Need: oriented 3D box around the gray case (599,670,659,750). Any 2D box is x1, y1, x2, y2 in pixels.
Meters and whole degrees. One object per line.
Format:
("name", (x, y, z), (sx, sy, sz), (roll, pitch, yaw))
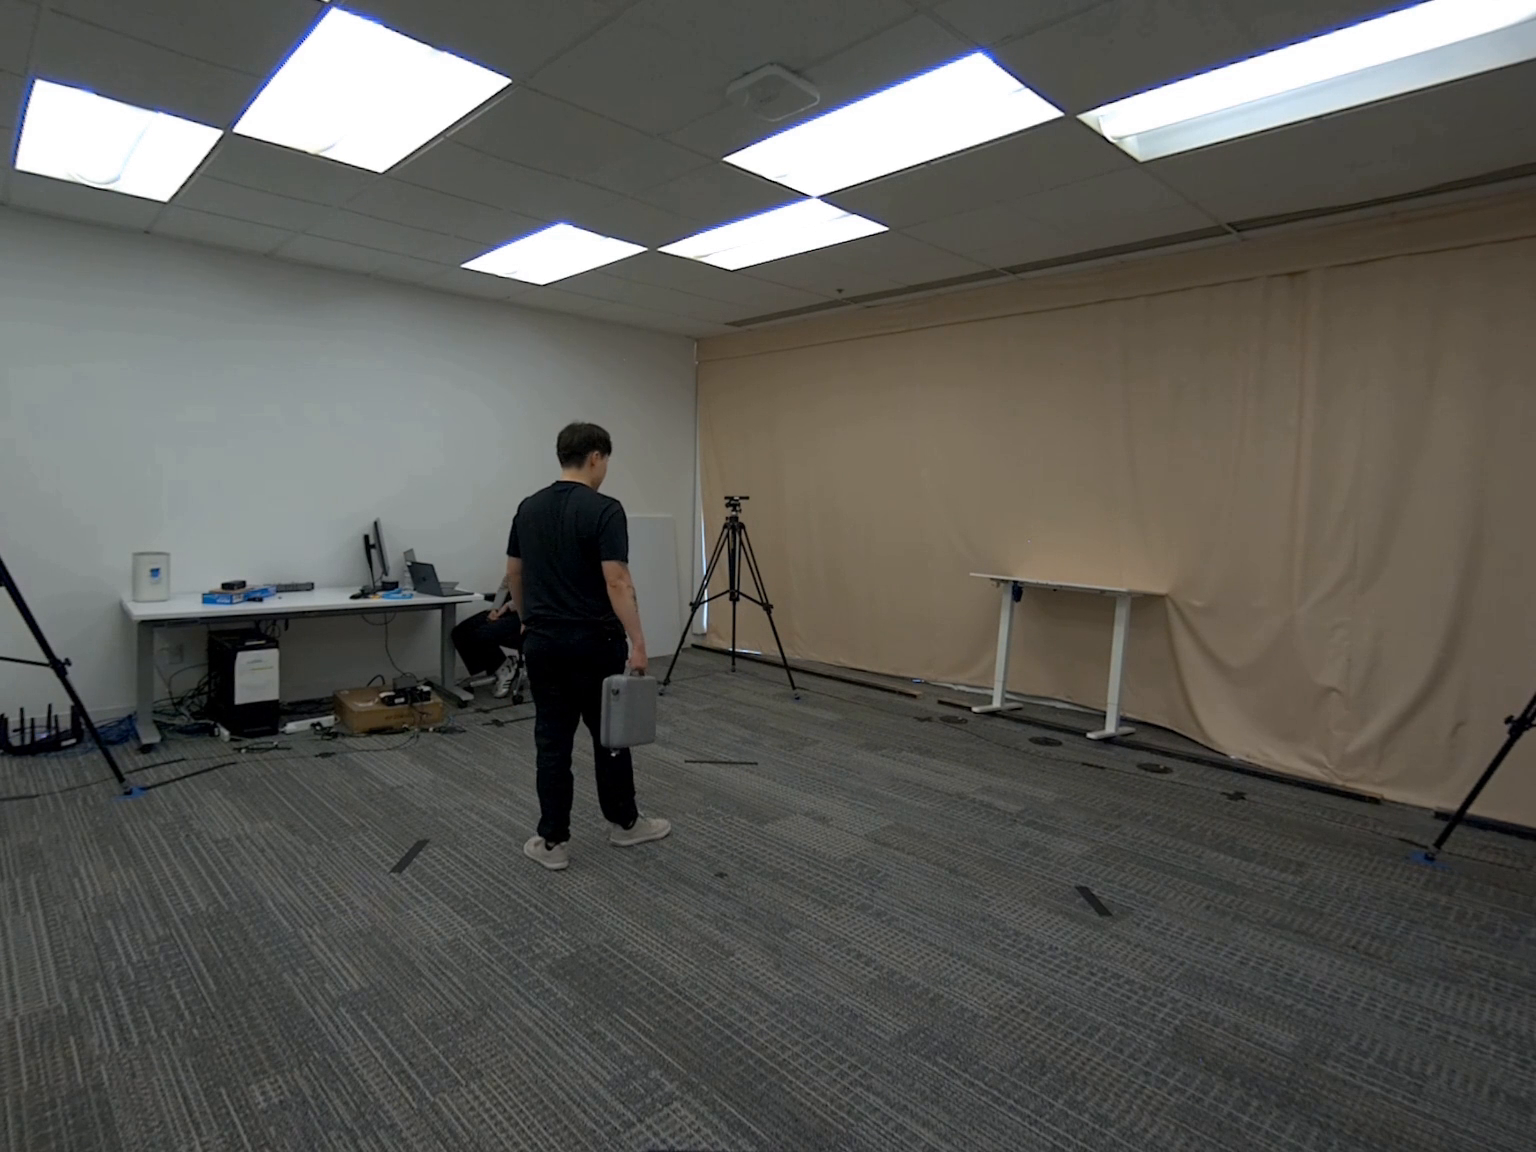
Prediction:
("gray case", (-0.503, 0.486, 3.069), (0.106, 0.261, 0.252), (1, -5, 18))
